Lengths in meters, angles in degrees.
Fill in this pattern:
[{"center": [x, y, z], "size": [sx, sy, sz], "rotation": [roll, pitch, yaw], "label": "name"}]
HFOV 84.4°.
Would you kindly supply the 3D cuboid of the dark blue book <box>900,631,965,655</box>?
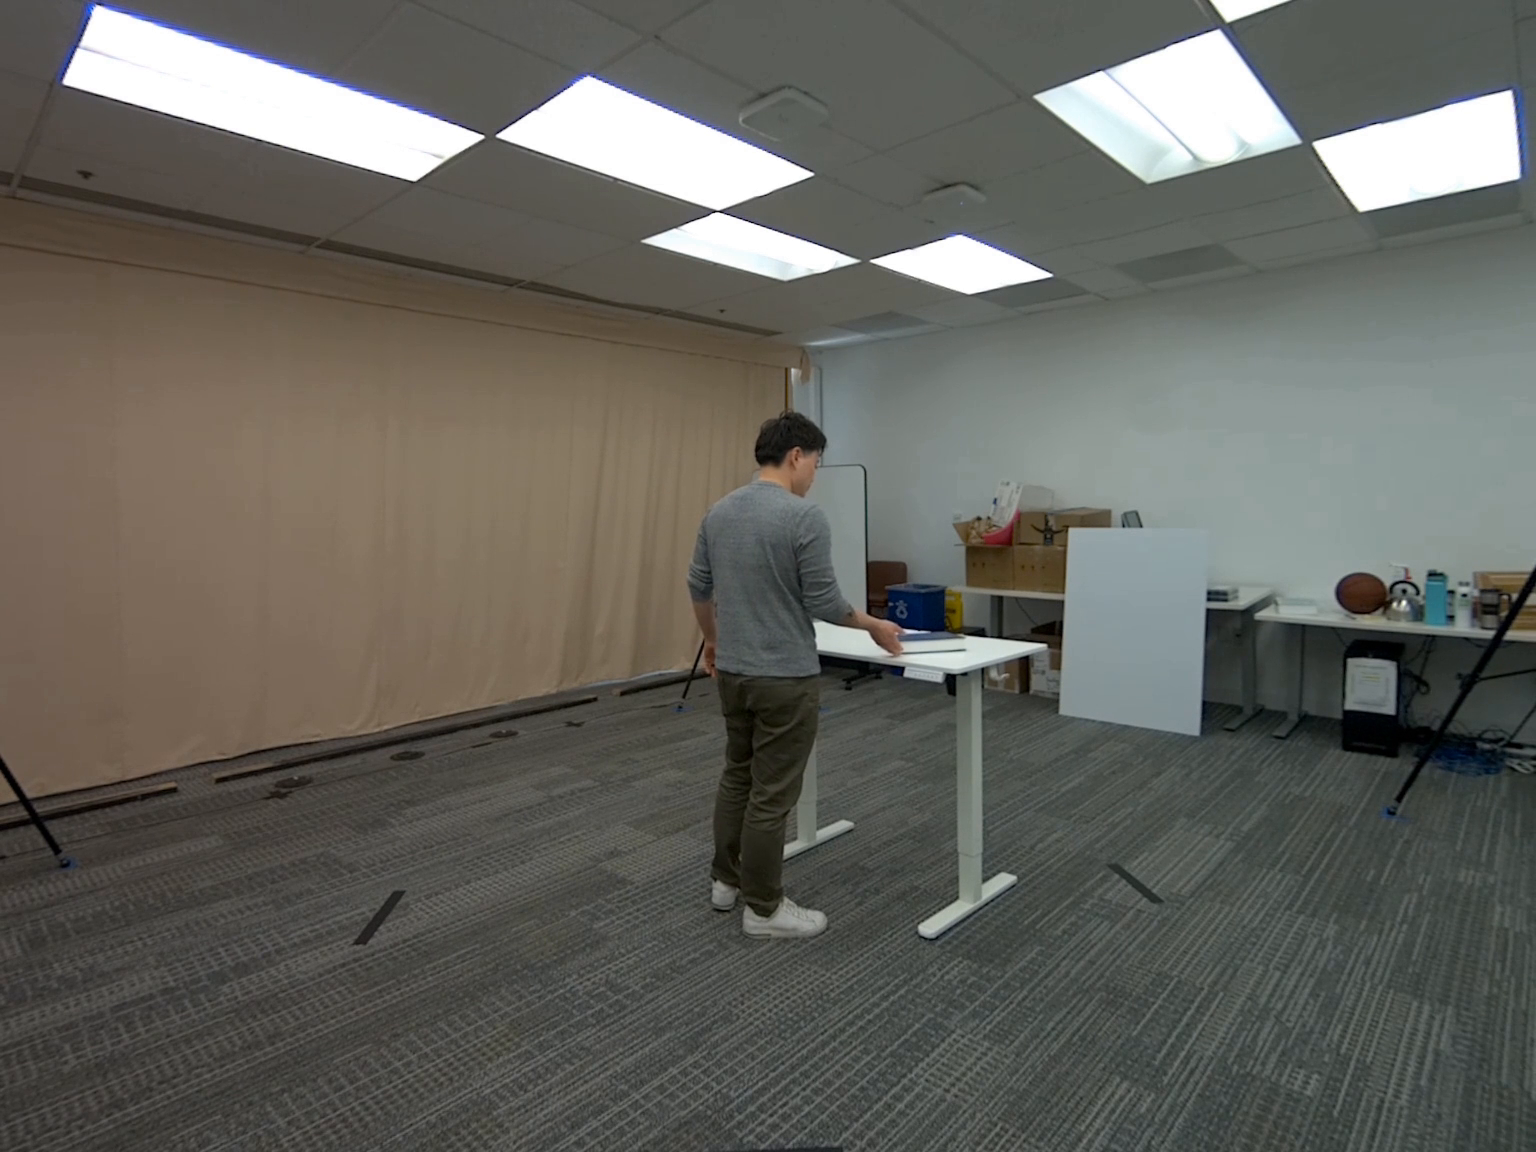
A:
[{"center": [0.548, 0.235, 2.924], "size": [0.243, 0.045, 0.165], "rotation": [-1, 3, -10], "label": "dark blue book"}]
